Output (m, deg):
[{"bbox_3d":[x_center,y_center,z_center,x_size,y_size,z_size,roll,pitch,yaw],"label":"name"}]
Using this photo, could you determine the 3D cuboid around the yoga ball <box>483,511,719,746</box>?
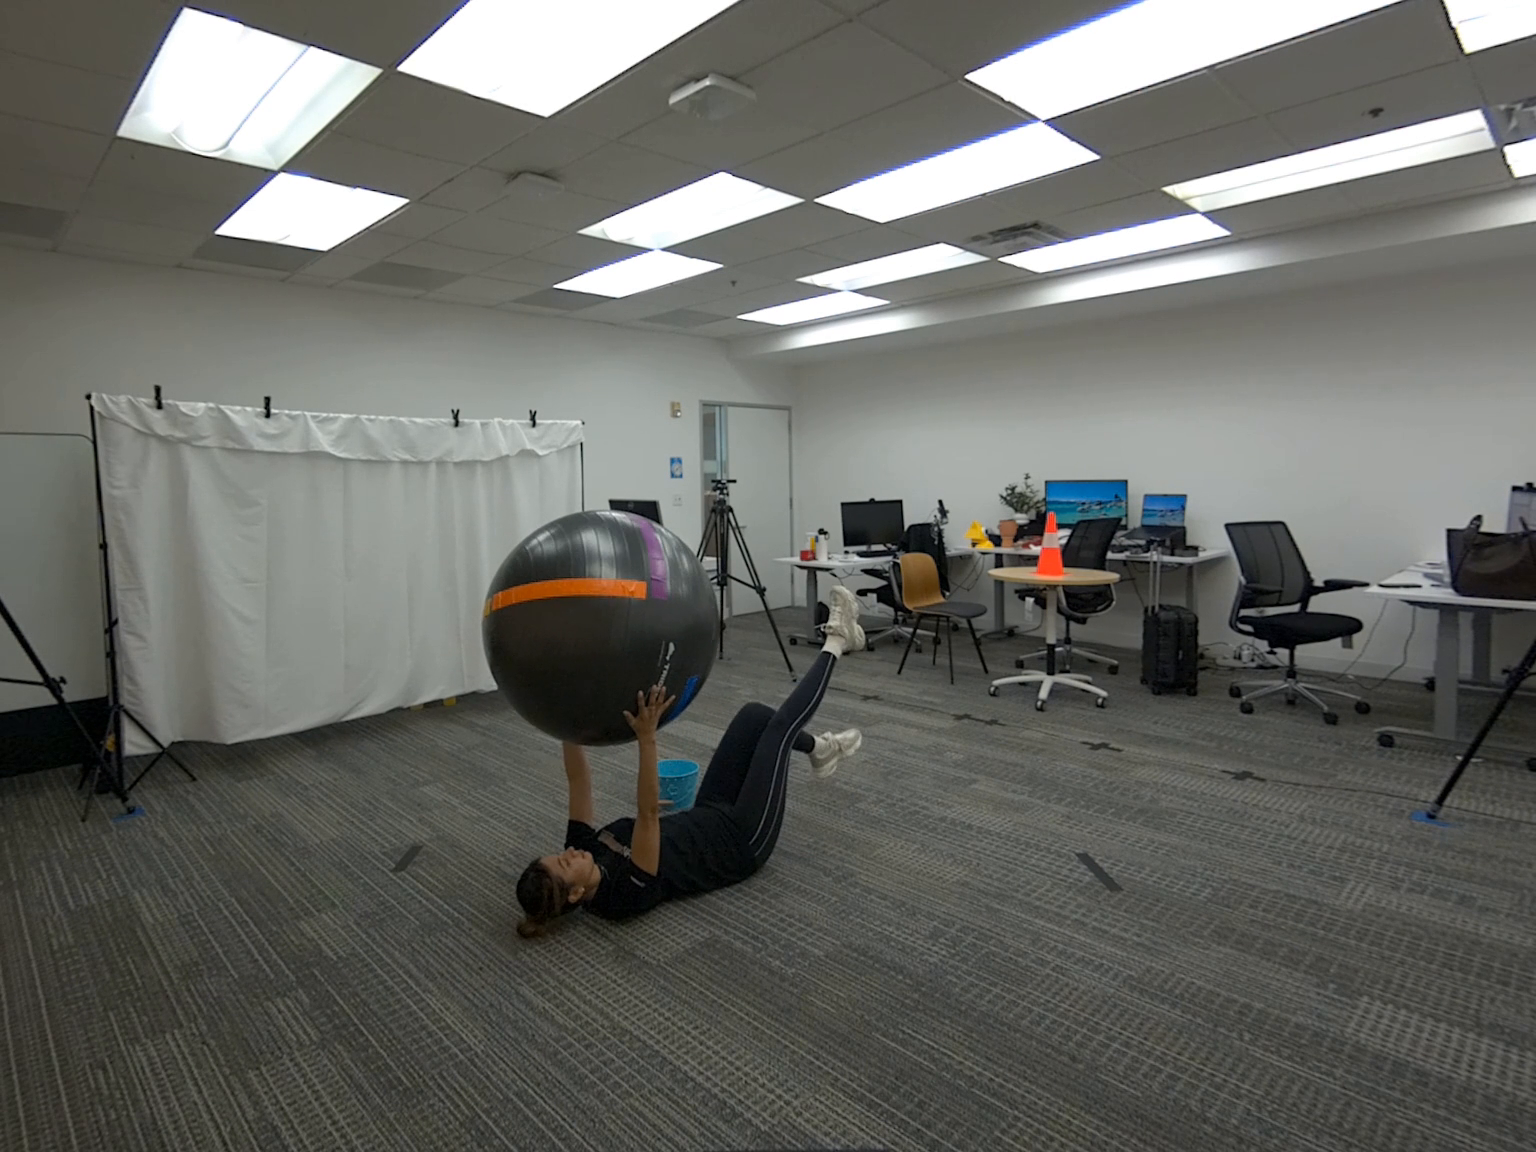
[{"bbox_3d":[-0.539,0.168,2.774,0.757,0.757,0.759,0,1,-2],"label":"yoga ball"}]
